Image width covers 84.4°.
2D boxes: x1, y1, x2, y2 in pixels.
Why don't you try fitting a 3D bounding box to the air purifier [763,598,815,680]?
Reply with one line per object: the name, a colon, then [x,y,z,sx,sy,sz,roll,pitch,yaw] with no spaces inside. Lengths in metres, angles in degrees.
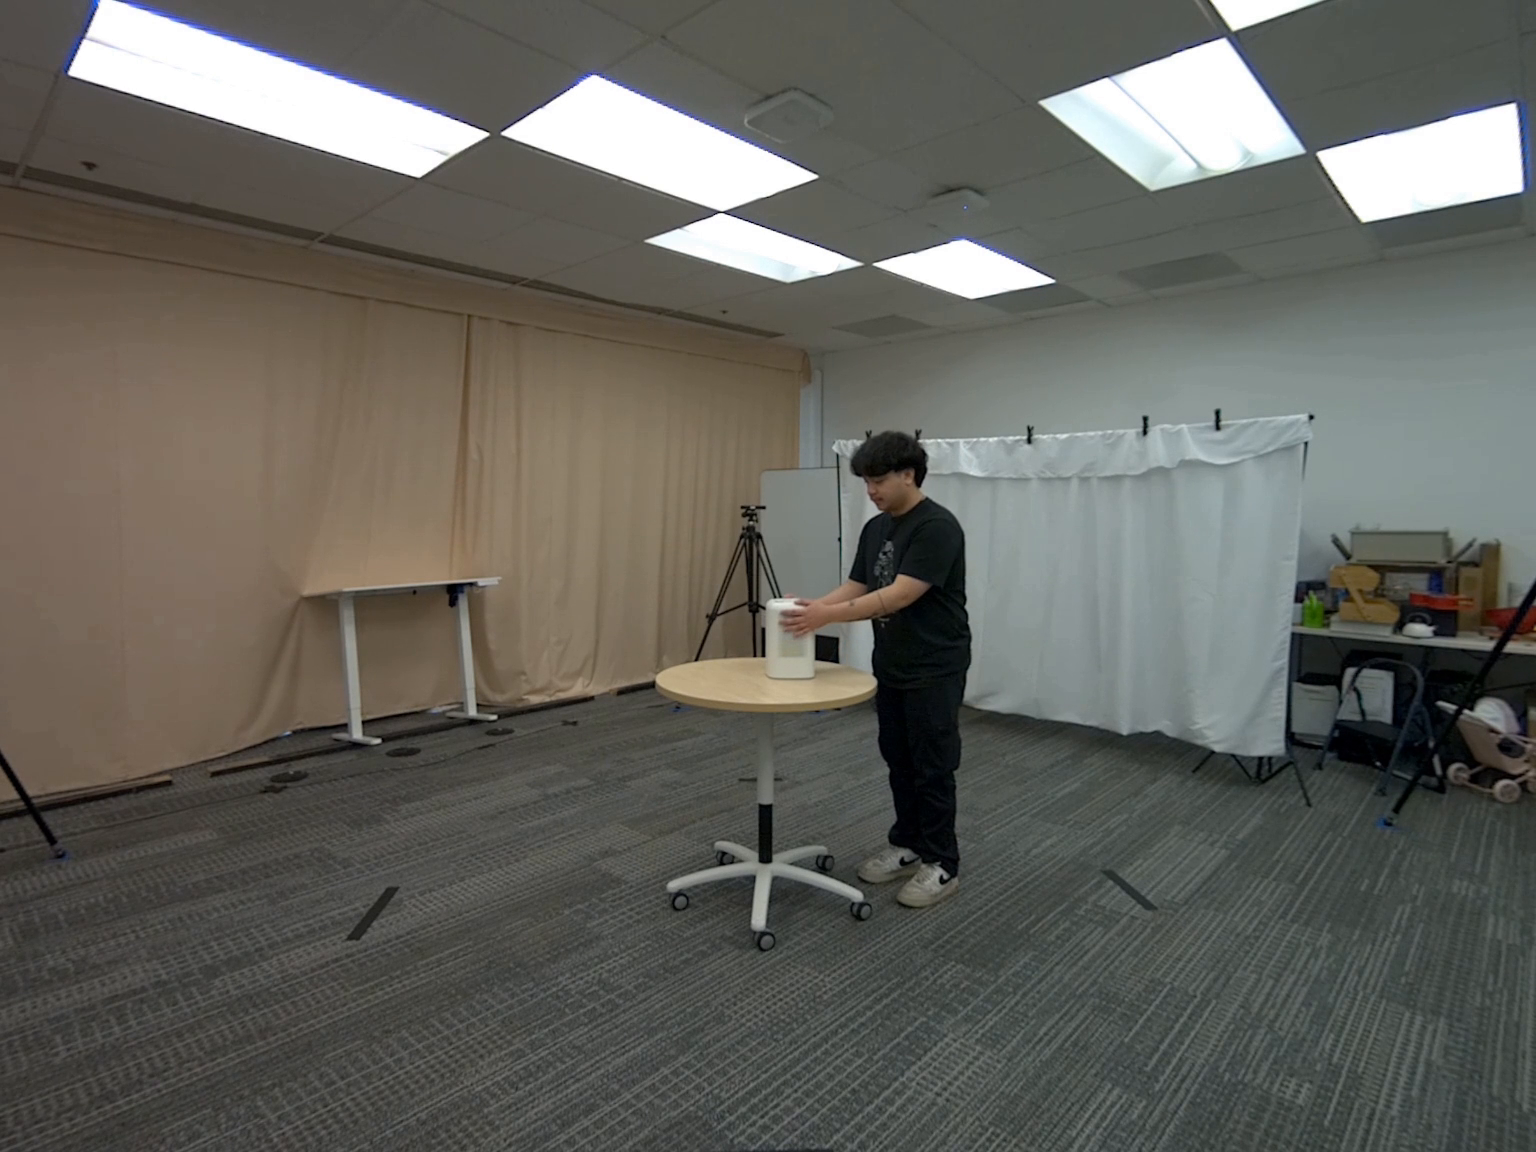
air purifier: [0.084,0.223,2.979,0.171,0.265,0.172,-1,3,-2]
